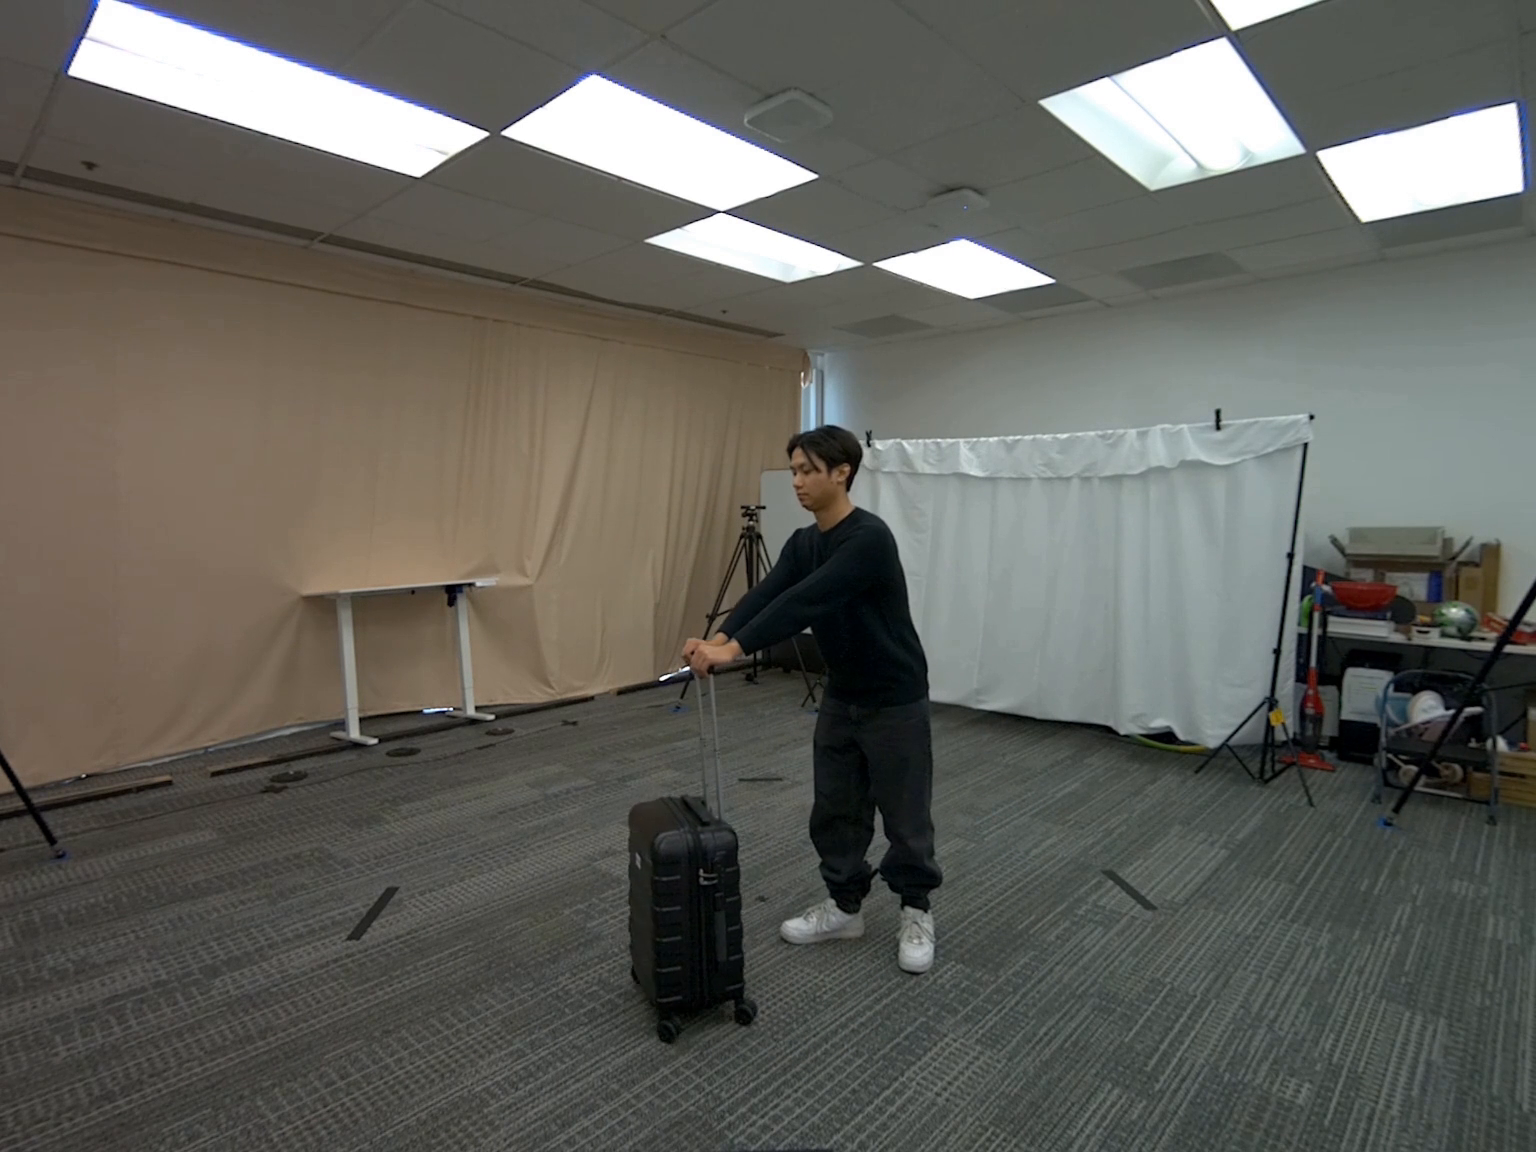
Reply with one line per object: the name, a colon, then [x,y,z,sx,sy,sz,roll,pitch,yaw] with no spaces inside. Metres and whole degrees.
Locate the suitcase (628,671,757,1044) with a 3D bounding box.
suitcase: [-0.243,0.725,2.358,0.253,0.977,0.391,-5,2,-17]
